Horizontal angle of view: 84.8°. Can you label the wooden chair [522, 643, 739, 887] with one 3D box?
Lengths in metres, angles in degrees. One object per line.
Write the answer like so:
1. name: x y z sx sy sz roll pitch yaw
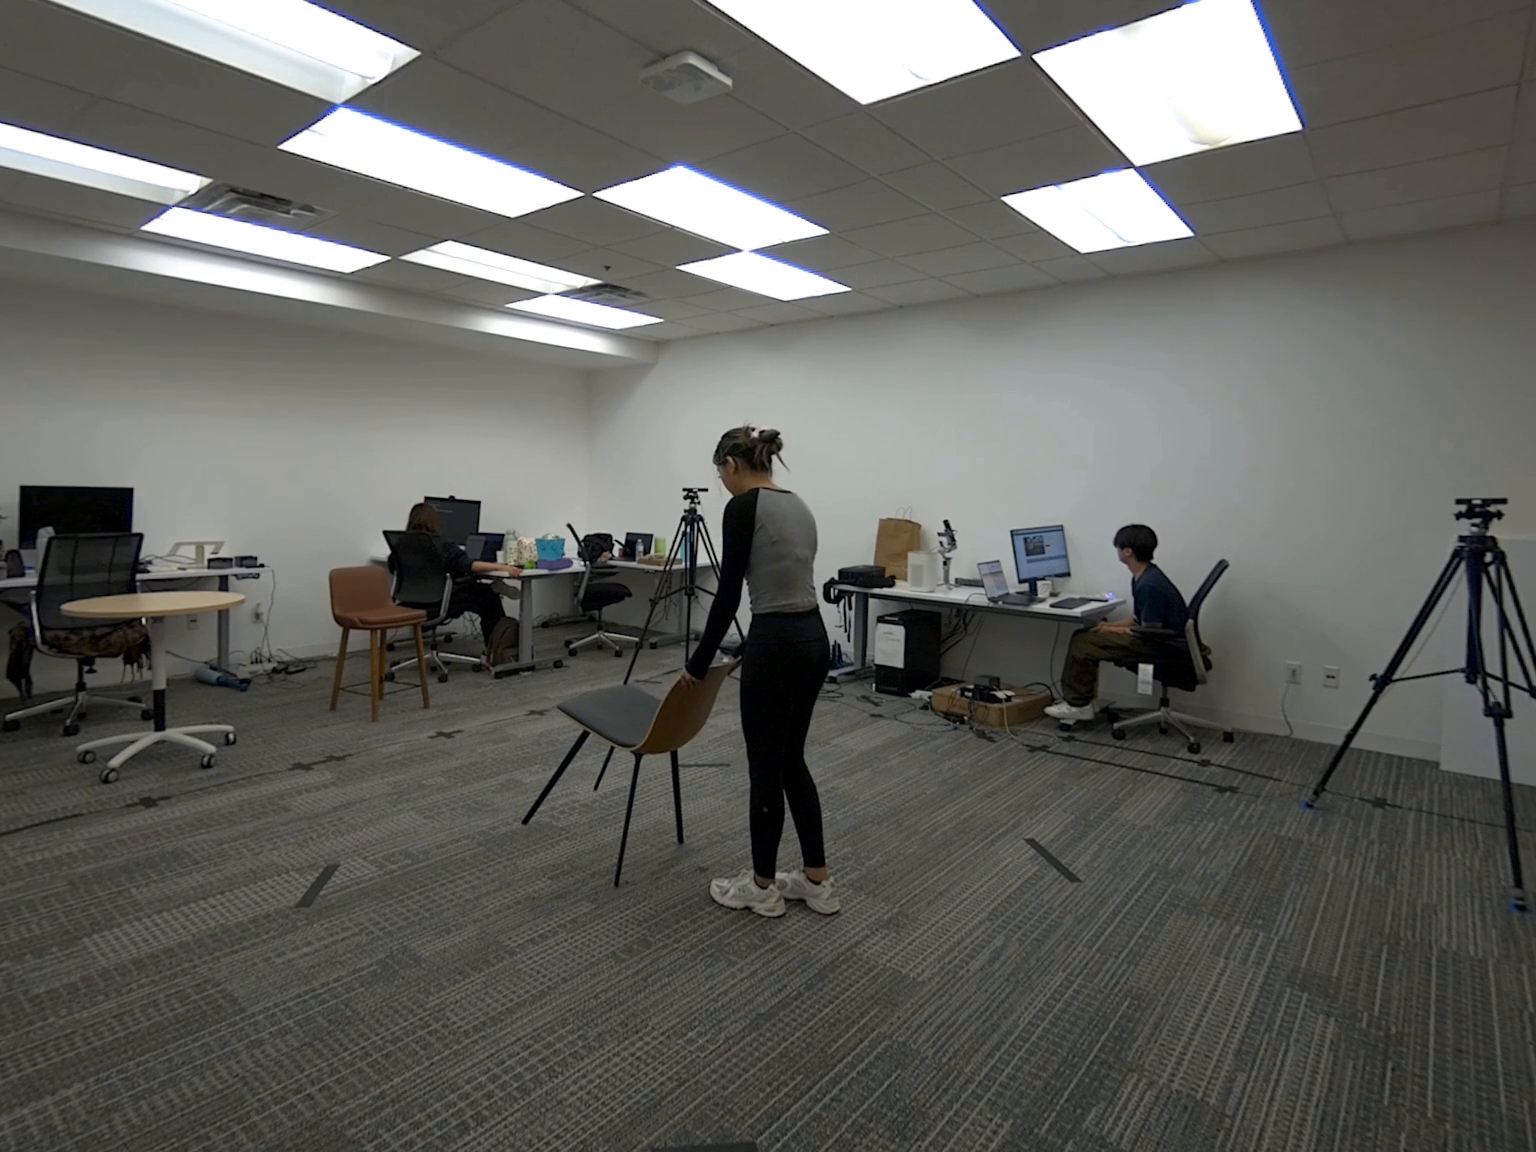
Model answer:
1. wooden chair: -0.517 0.584 3.162 0.540 0.871 0.466 27 15 24
